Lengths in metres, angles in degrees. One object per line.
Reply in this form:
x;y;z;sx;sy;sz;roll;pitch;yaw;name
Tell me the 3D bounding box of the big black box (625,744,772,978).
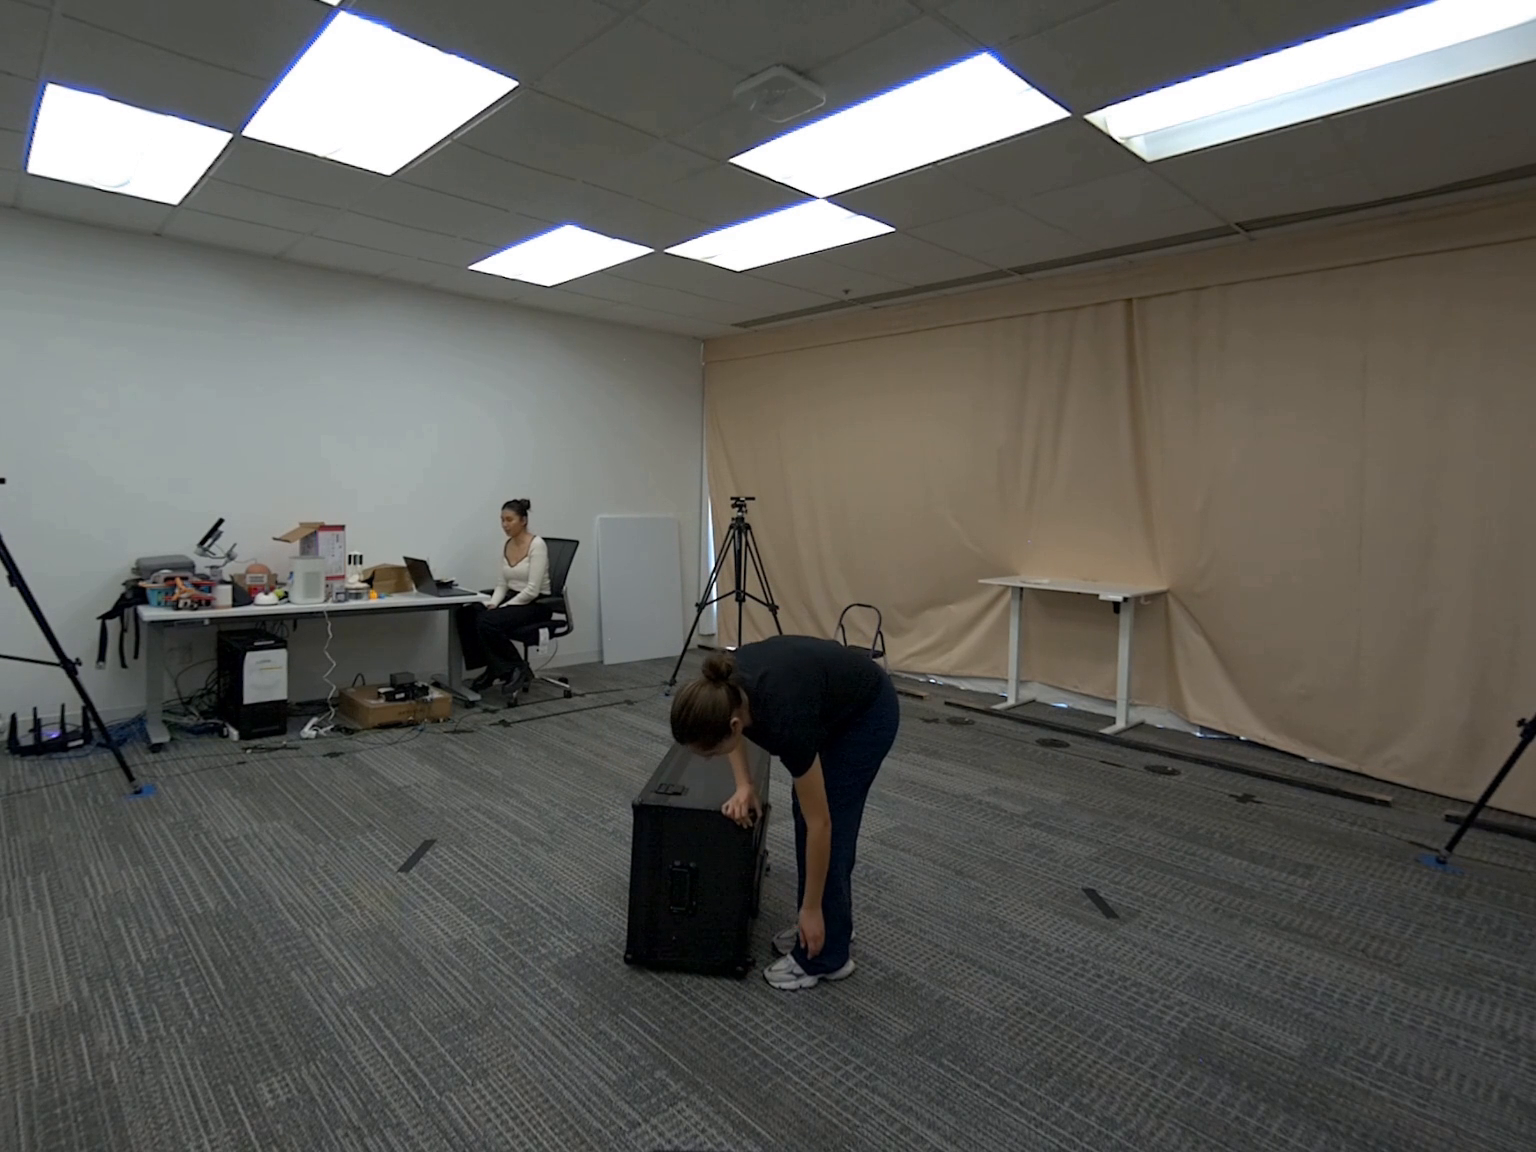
-0.190;0.868;2.834;0.398;0.520;0.860;3;5;4;big black box
